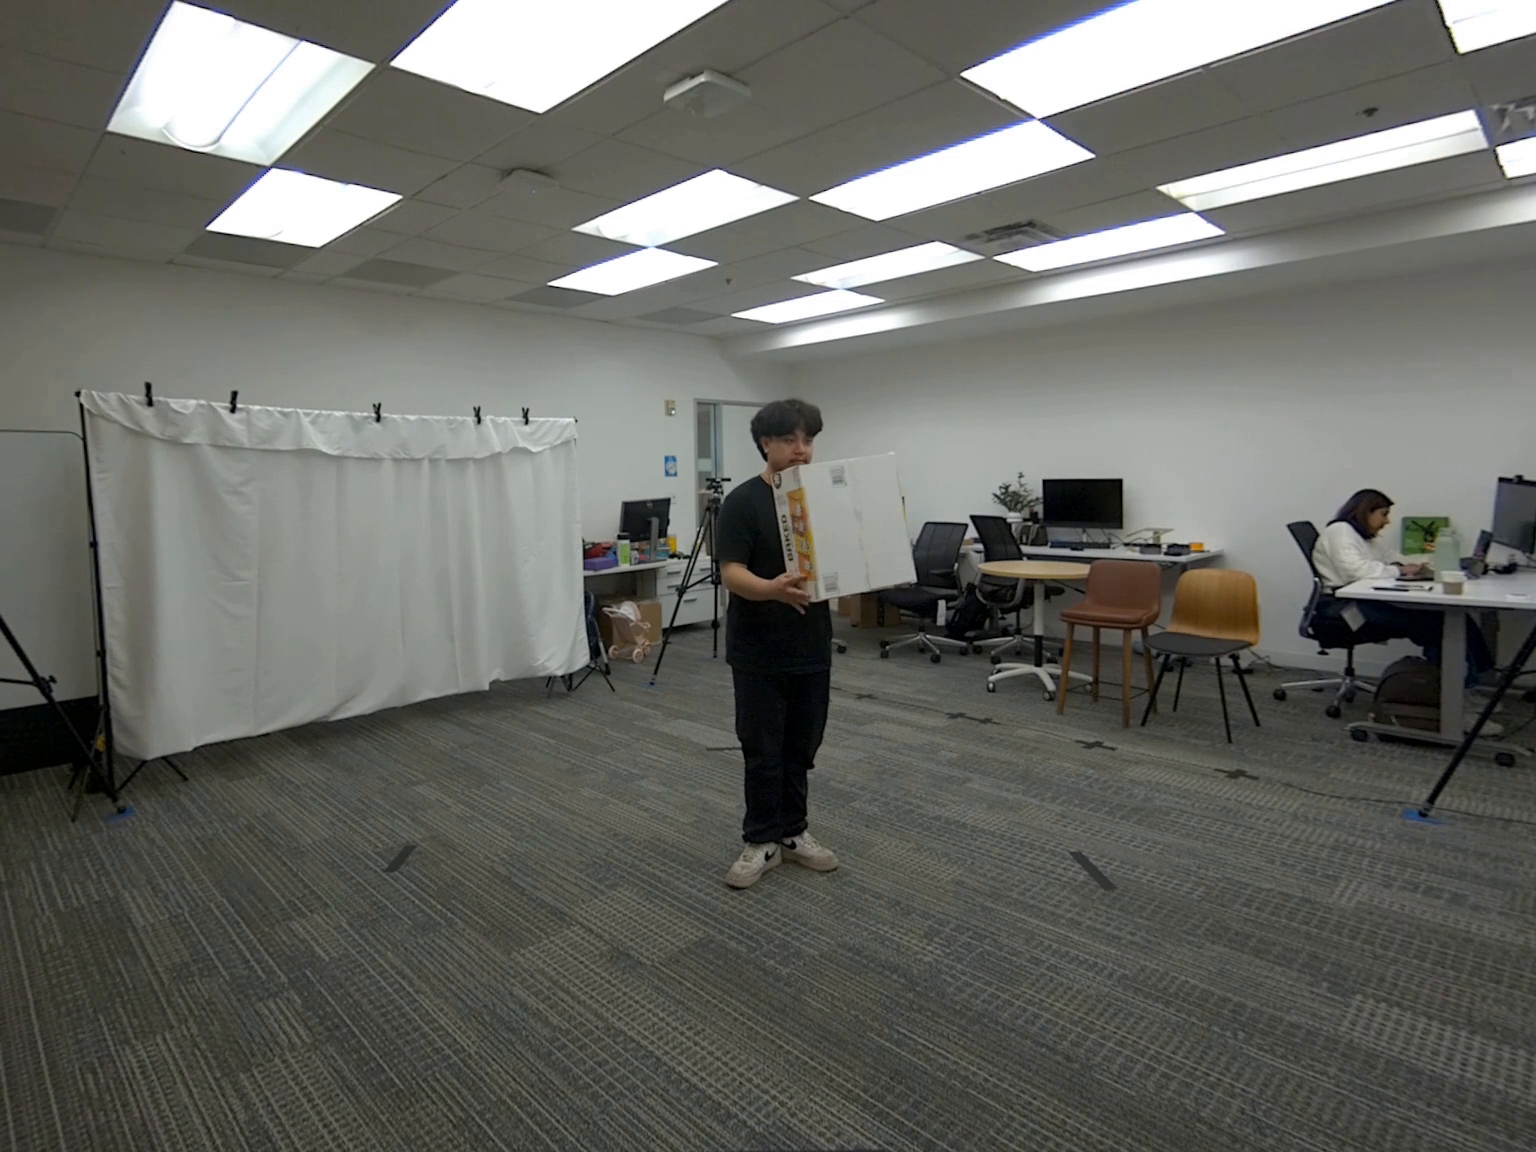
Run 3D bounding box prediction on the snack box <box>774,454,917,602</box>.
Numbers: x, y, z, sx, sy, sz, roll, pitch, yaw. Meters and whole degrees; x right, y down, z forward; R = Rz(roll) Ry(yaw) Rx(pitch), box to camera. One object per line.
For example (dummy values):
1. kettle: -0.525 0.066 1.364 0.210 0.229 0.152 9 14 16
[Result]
1. snack box: 0.224 -0.141 2.652 0.335 0.406 0.209 -11 -1 -21
